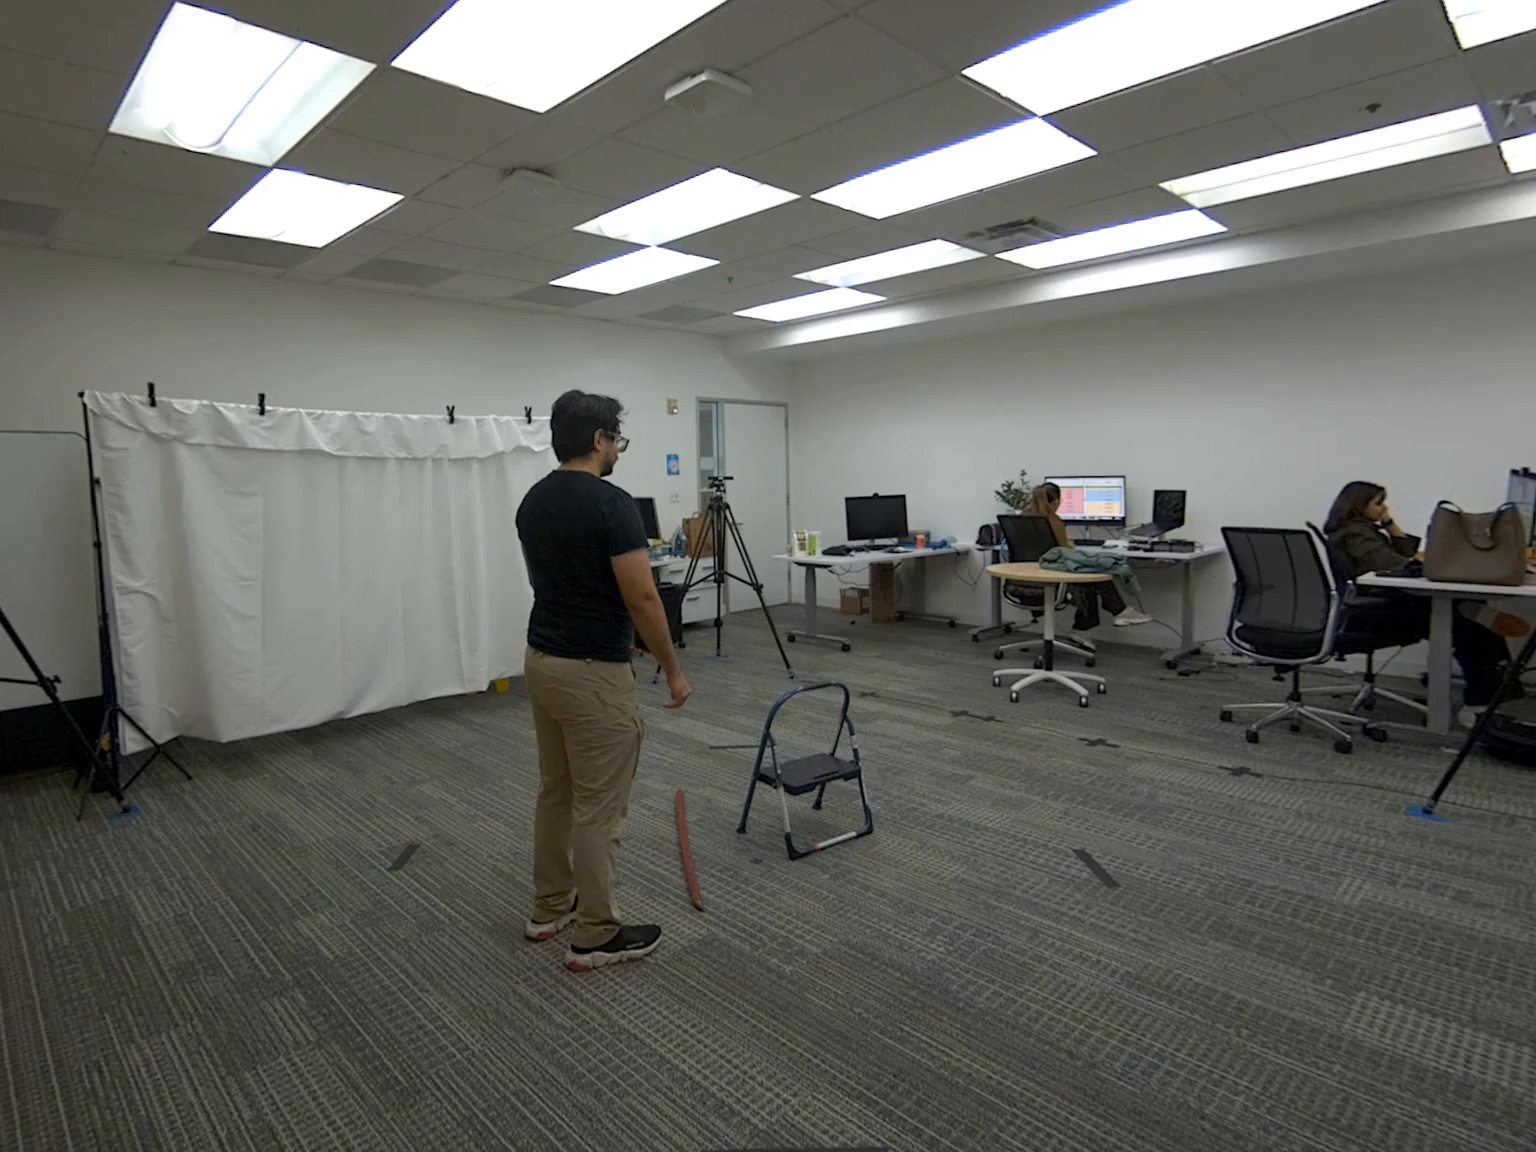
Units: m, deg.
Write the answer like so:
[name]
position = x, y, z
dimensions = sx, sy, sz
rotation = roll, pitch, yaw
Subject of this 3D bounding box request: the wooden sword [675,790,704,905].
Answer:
[wooden sword]
position = -0.291, 0.975, 3.171
dimensions = 0.024, 0.051, 1.029
rotation = -38, 4, -7
